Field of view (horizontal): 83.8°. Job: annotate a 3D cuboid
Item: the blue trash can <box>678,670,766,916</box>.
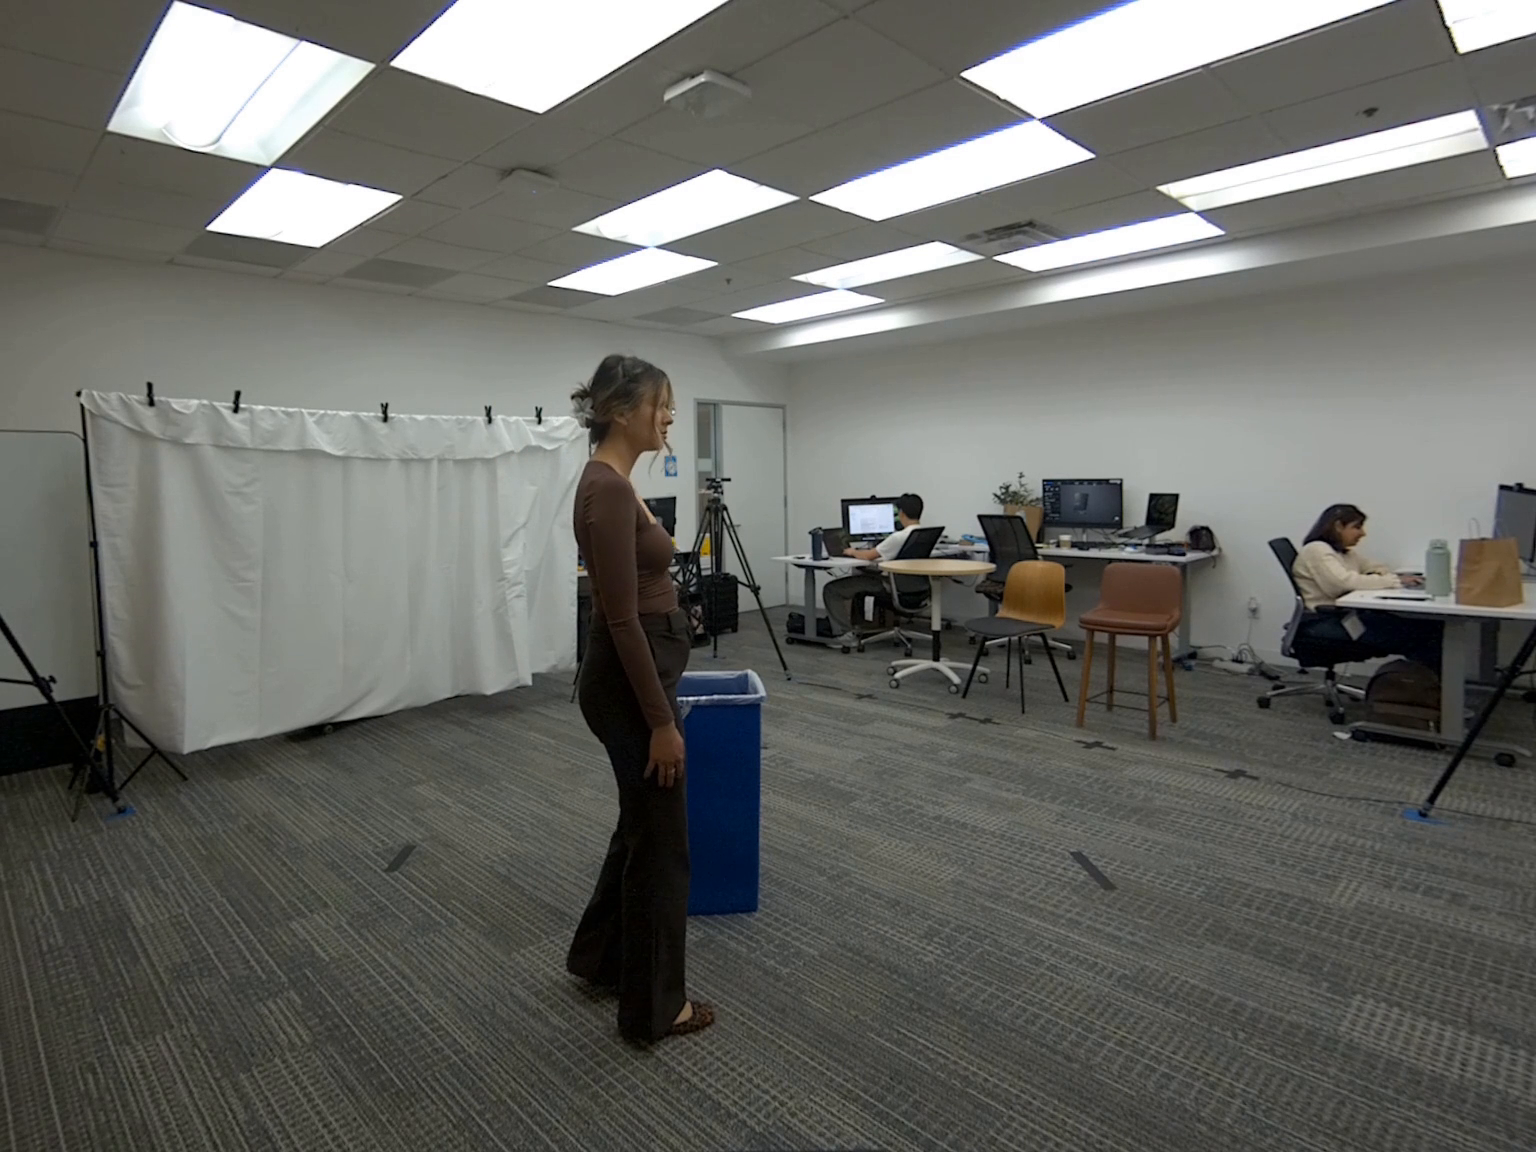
[{"bbox_3d":[-0.195,0.712,2.874,0.372,0.711,0.382,-2,4,-7],"label":"blue trash can"}]
